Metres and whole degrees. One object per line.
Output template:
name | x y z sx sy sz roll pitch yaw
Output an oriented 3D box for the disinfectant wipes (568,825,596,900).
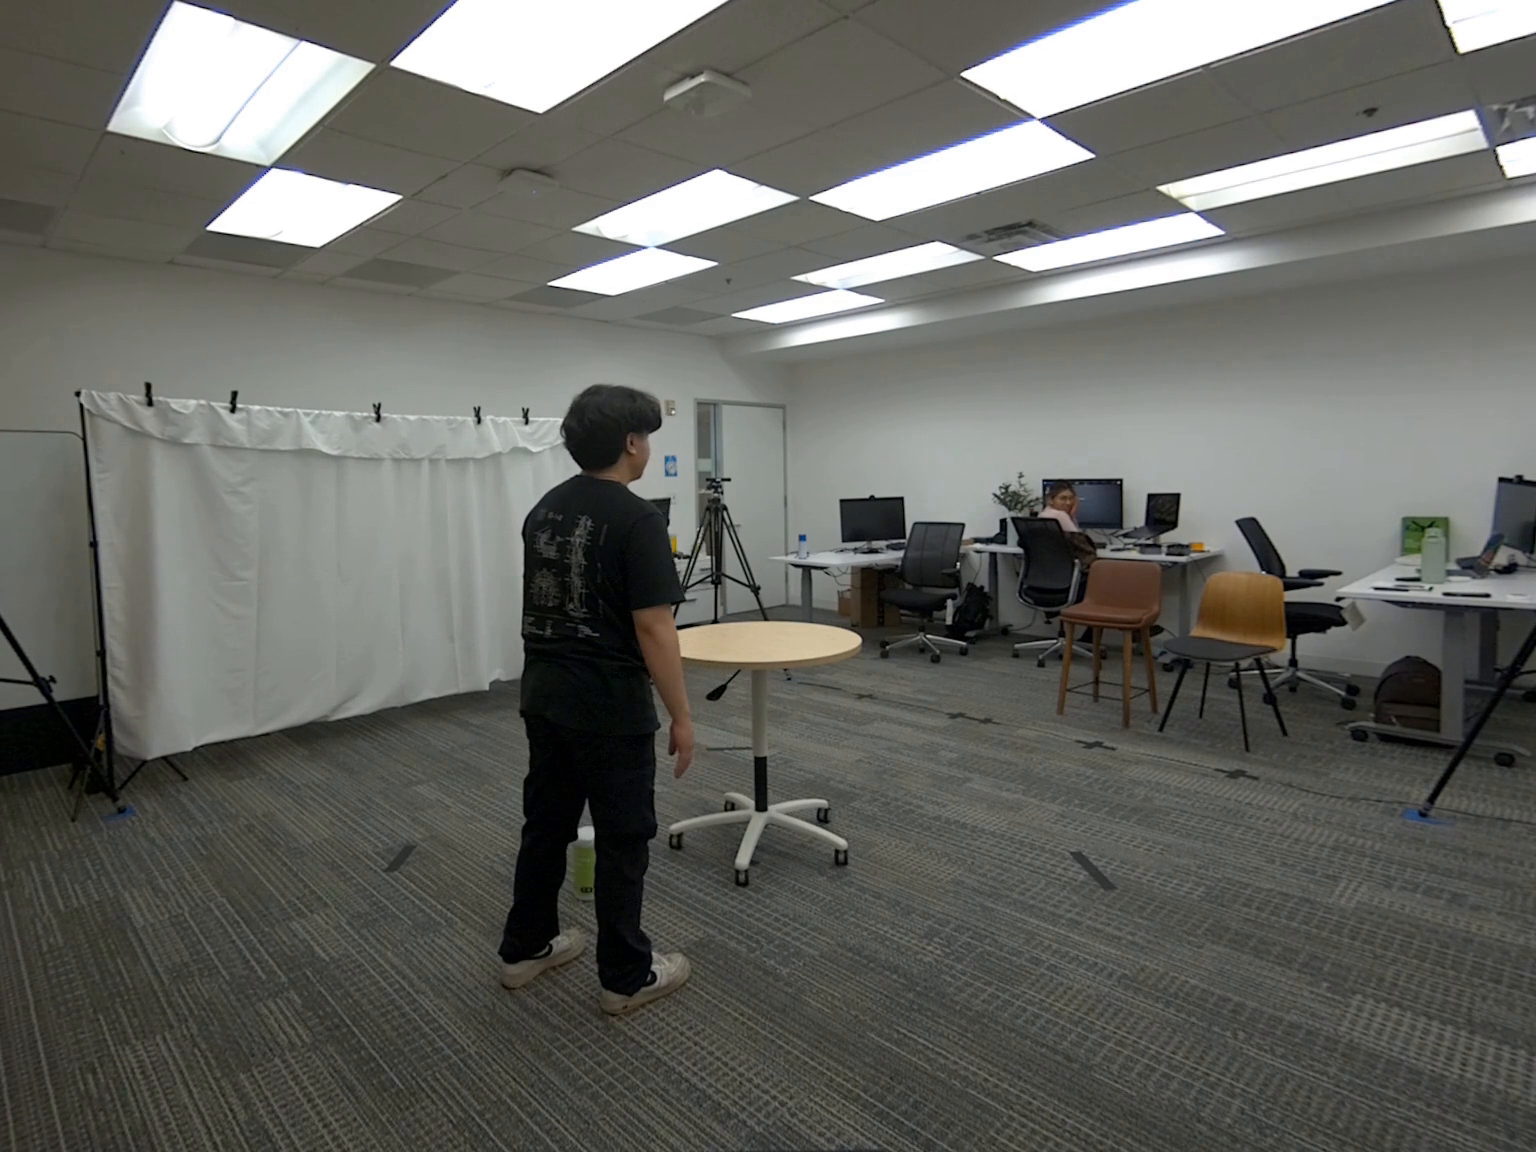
disinfectant wipes | -0.617 0.981 2.898 0.118 0.216 0.118 0 5 -2
